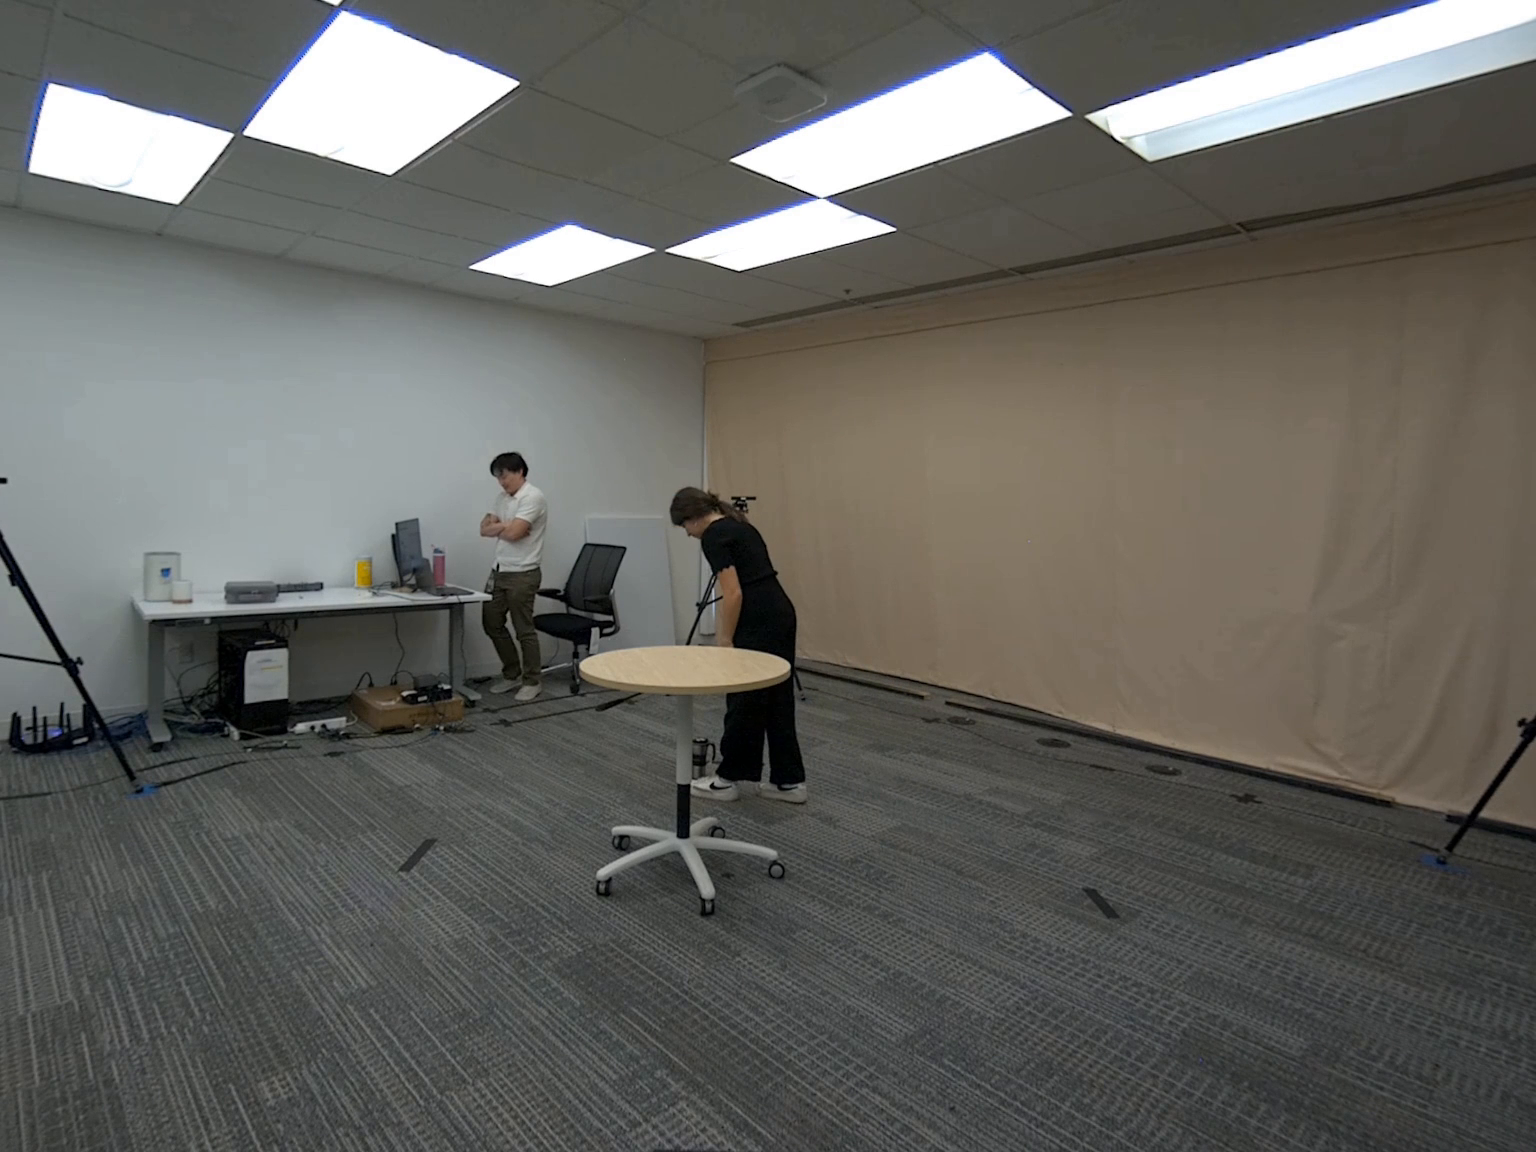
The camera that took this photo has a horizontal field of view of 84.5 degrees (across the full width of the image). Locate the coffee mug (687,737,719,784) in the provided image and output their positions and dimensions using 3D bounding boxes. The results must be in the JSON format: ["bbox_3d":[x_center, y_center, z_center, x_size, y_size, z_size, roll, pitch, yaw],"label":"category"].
[{"bbox_3d":[-0.323,0.911,4.160,0.124,0.203,0.086,2,0,29],"label":"coffee mug"}]
